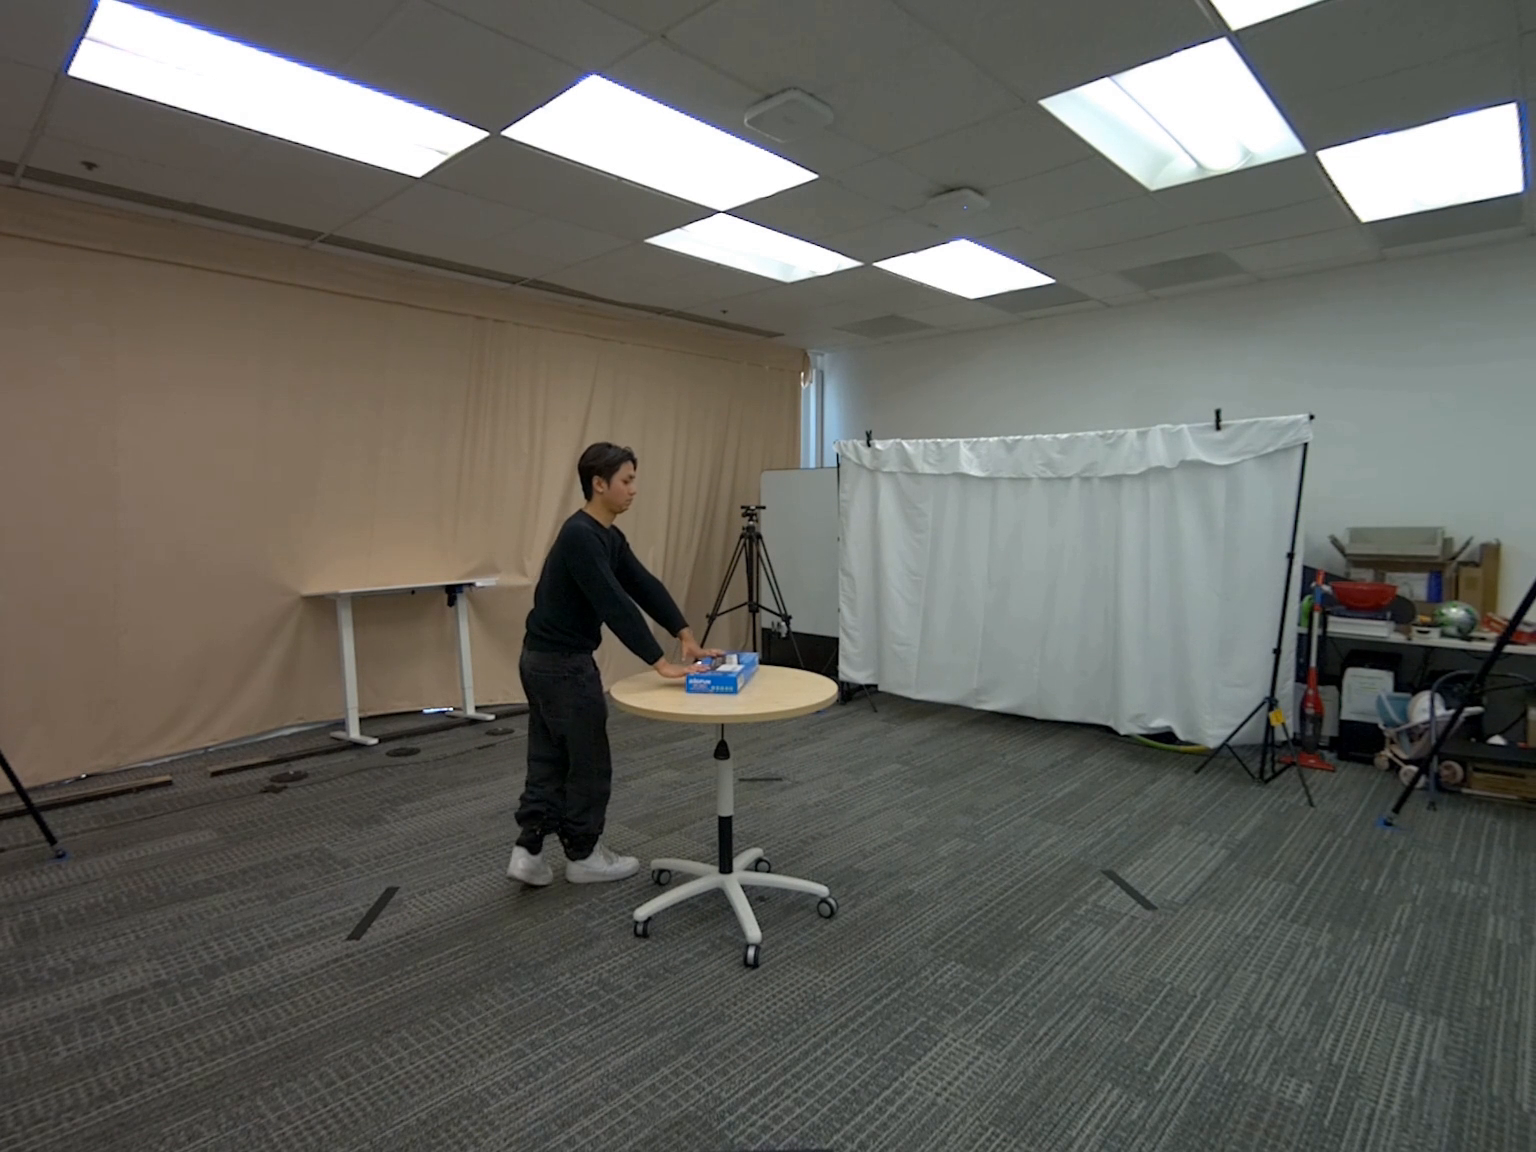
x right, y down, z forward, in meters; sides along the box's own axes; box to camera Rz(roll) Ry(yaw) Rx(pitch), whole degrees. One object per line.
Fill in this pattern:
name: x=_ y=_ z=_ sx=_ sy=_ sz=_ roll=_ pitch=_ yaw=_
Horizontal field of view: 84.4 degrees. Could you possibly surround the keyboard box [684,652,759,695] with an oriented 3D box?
keyboard box: x=-0.153 y=0.335 z=2.948 sx=0.178 sy=0.059 sz=0.433 roll=0 pitch=5 yaw=9
